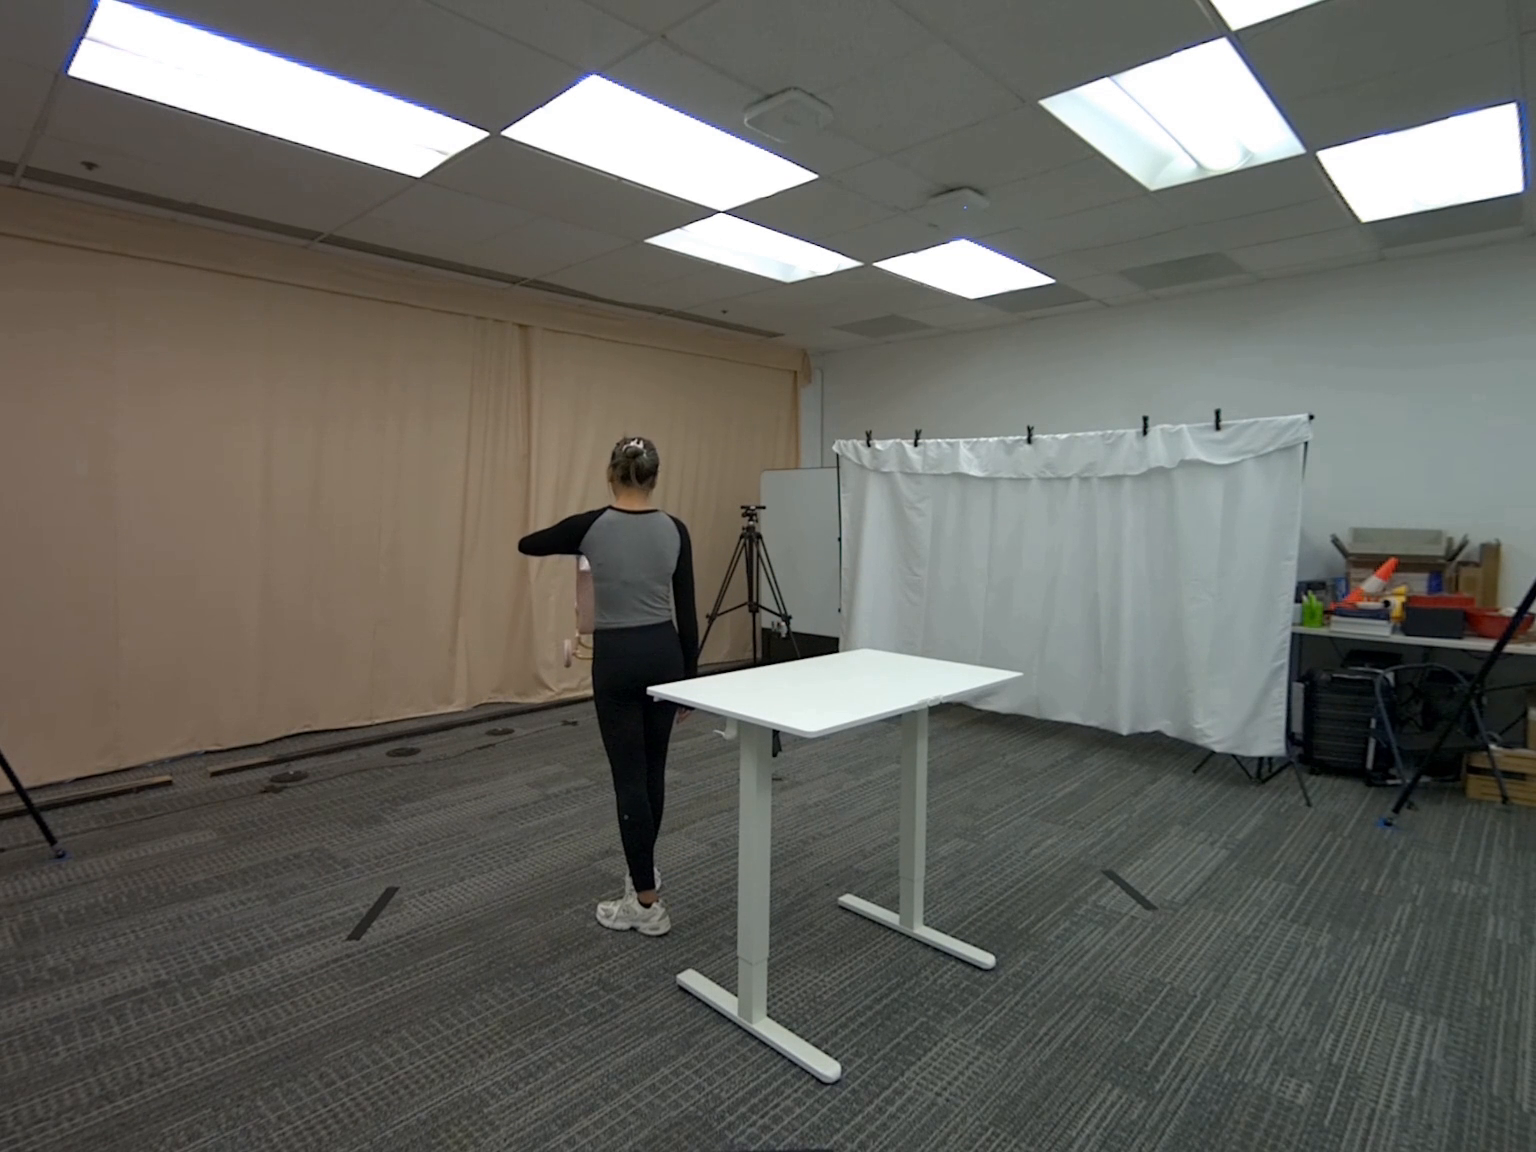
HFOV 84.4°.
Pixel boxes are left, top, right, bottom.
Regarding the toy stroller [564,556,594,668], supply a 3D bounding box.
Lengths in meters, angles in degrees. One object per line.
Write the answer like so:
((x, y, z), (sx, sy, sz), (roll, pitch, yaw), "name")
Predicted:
((-0.659, 0.135, 3.340), (0.280, 0.533, 0.344), (2, 5, -7), "toy stroller")
